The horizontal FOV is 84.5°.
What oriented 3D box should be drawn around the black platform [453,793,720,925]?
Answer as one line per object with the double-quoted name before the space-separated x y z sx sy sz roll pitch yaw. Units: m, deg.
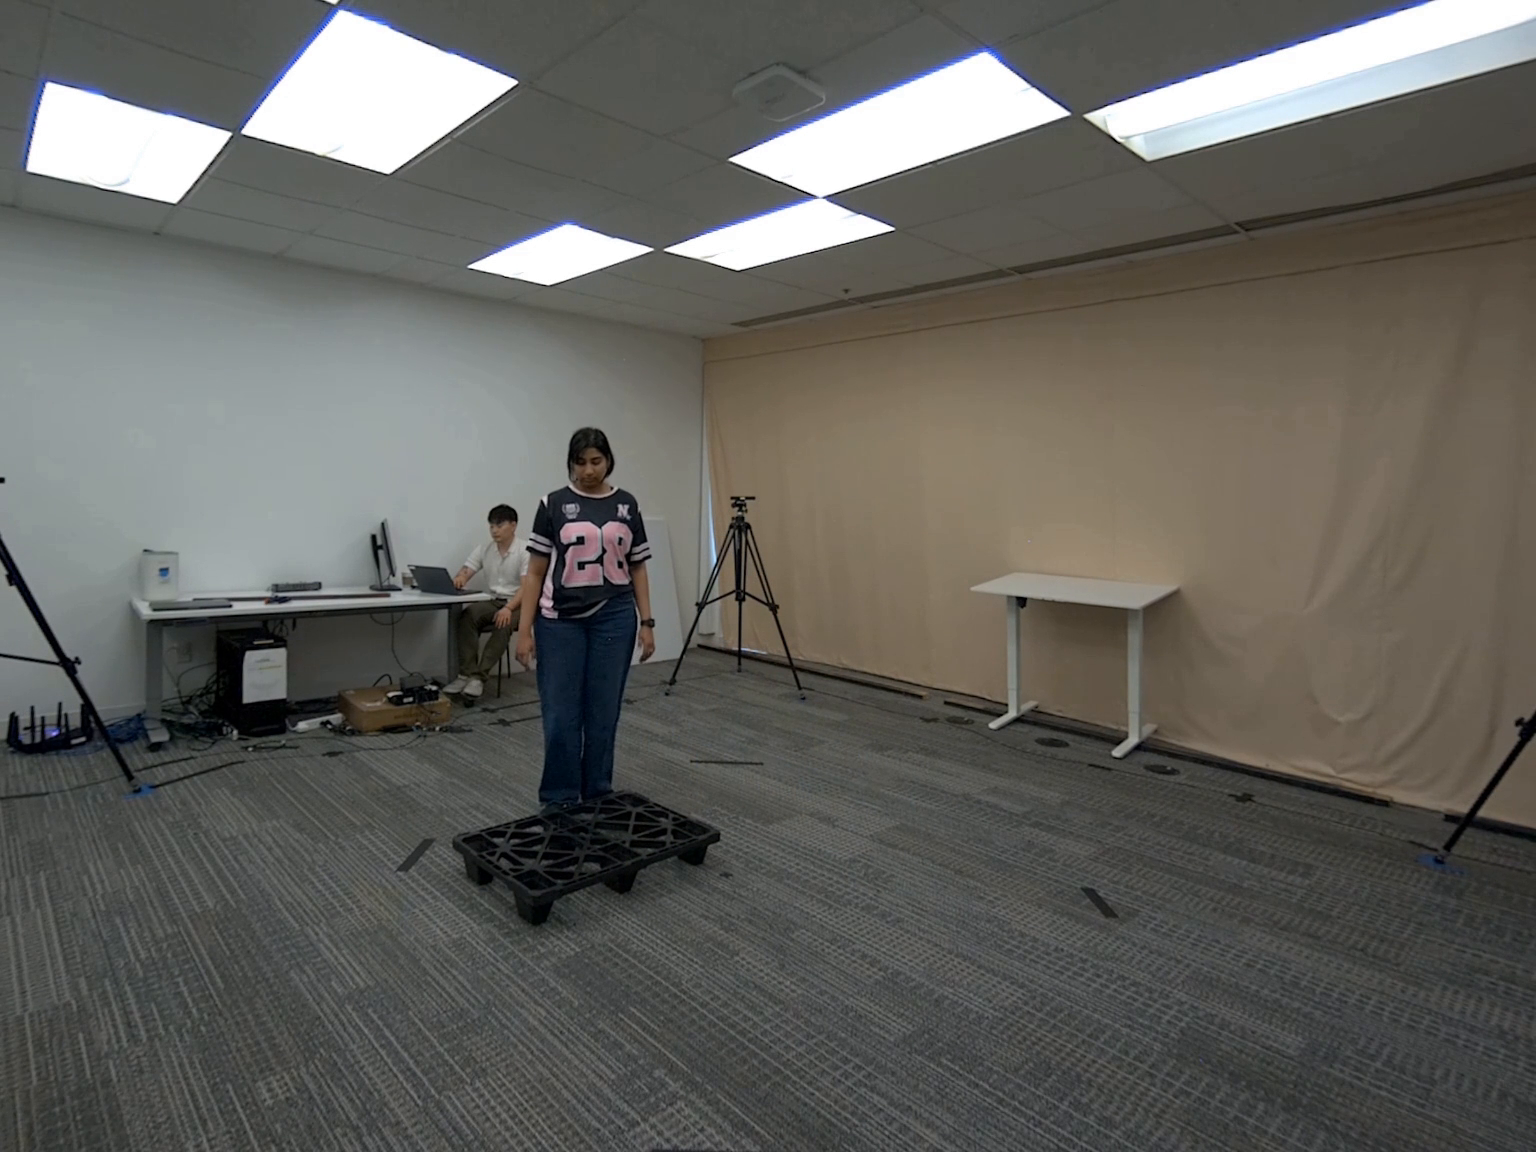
"black platform" -0.662 1.024 3.118 0.787 0.143 0.621 -4 8 -45
